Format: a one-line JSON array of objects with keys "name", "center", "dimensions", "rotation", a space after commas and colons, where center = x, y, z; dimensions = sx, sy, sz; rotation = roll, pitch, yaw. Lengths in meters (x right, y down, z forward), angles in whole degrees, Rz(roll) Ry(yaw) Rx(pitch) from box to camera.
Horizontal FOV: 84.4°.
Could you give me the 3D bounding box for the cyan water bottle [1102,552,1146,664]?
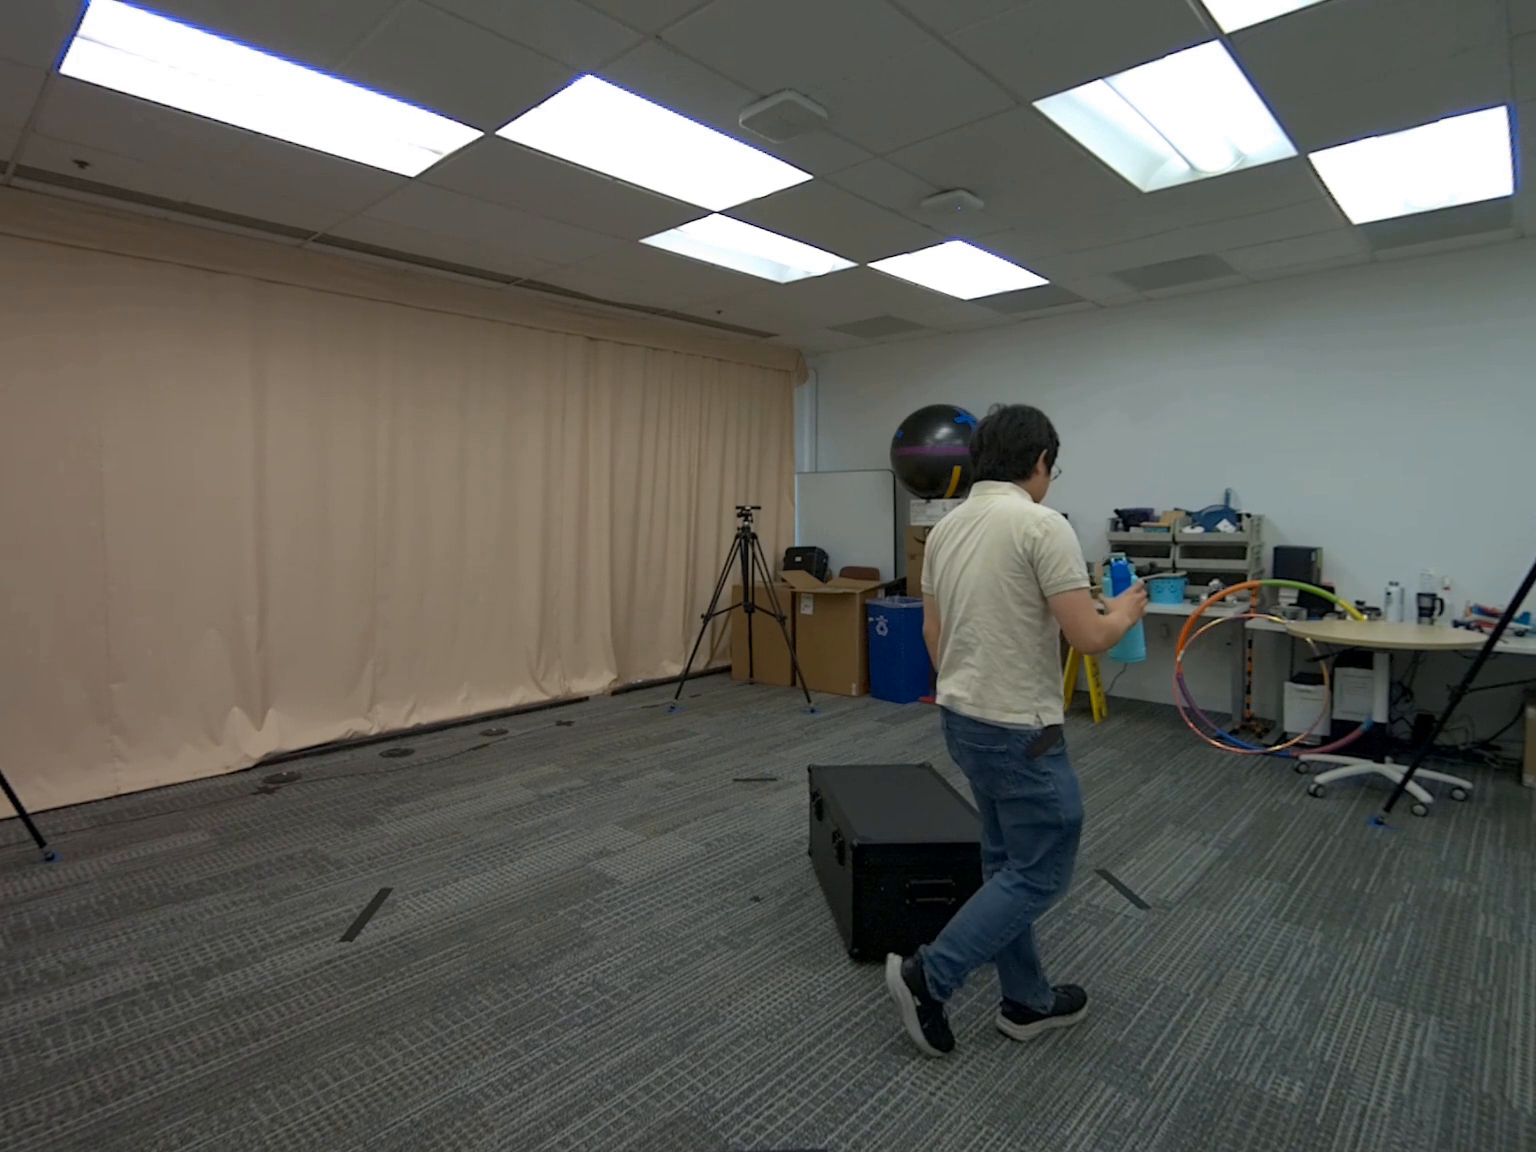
[{"name": "cyan water bottle", "center": [0.952, 0.084, 2.216], "dimensions": [0.092, 0.283, 0.092], "rotation": [-7, 2, -1]}]
